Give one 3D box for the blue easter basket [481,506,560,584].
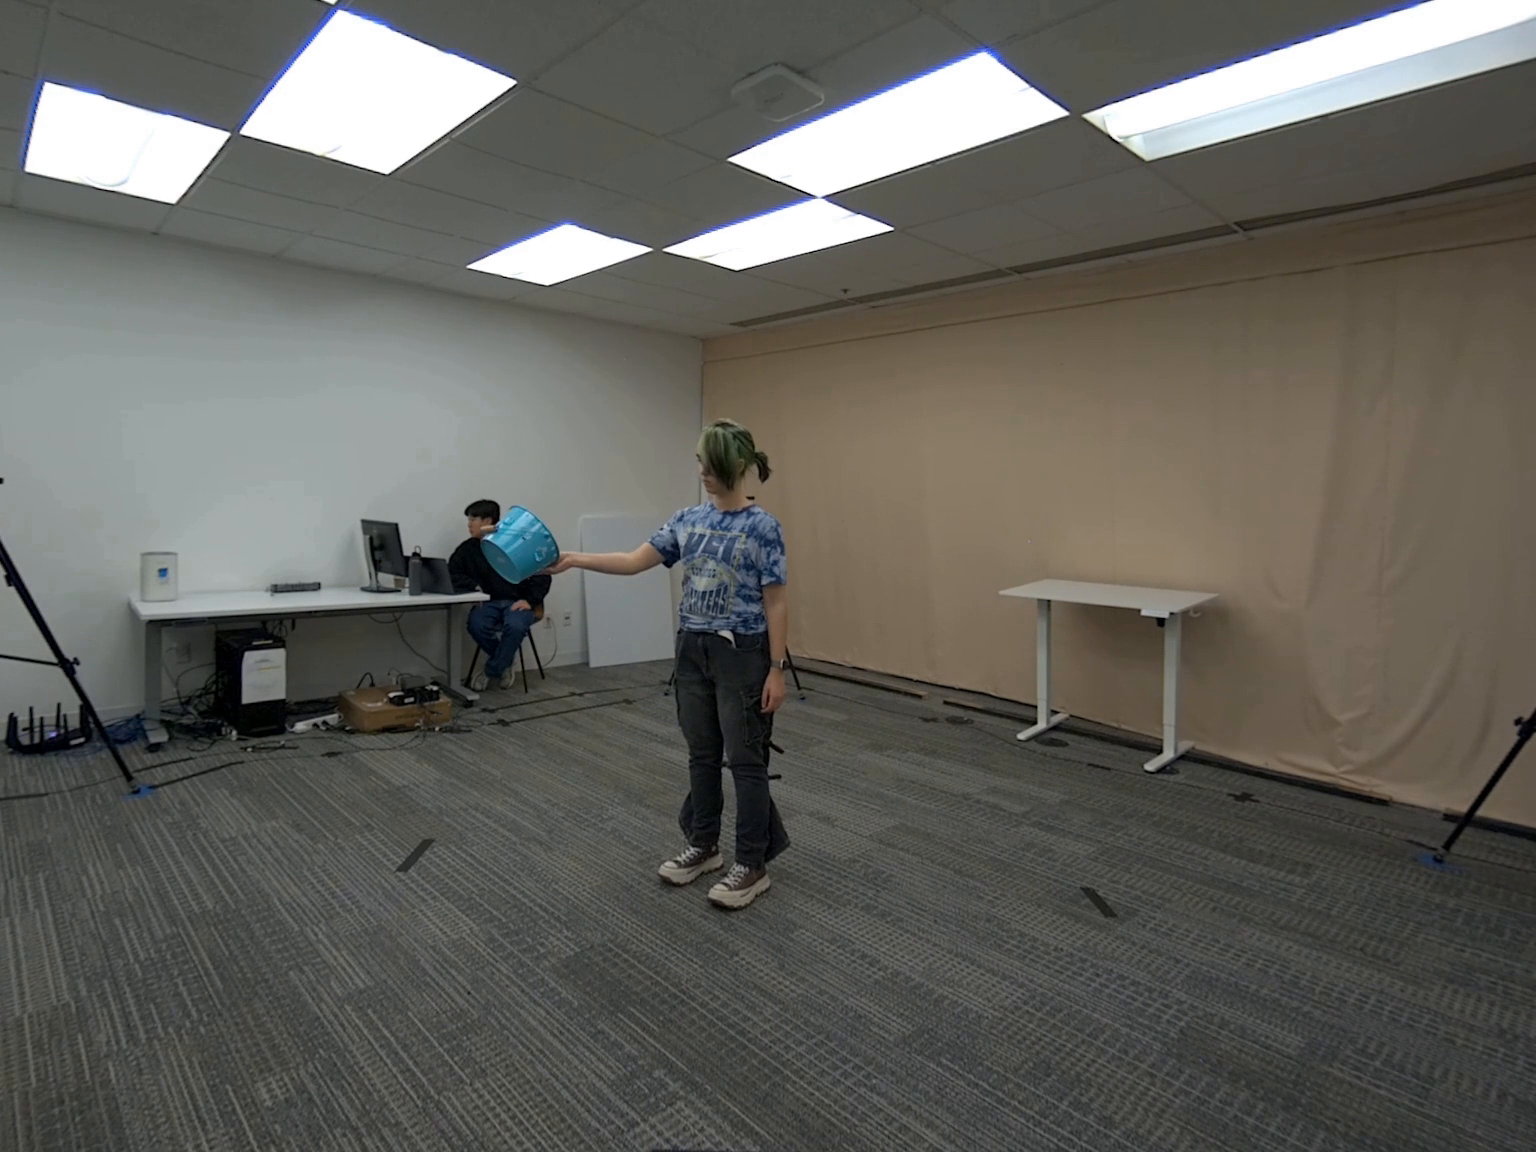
[{"bbox_3d":[-0.830,-0.081,2.752,0.250,0.238,0.155,6,41,49],"label":"blue easter basket"}]
